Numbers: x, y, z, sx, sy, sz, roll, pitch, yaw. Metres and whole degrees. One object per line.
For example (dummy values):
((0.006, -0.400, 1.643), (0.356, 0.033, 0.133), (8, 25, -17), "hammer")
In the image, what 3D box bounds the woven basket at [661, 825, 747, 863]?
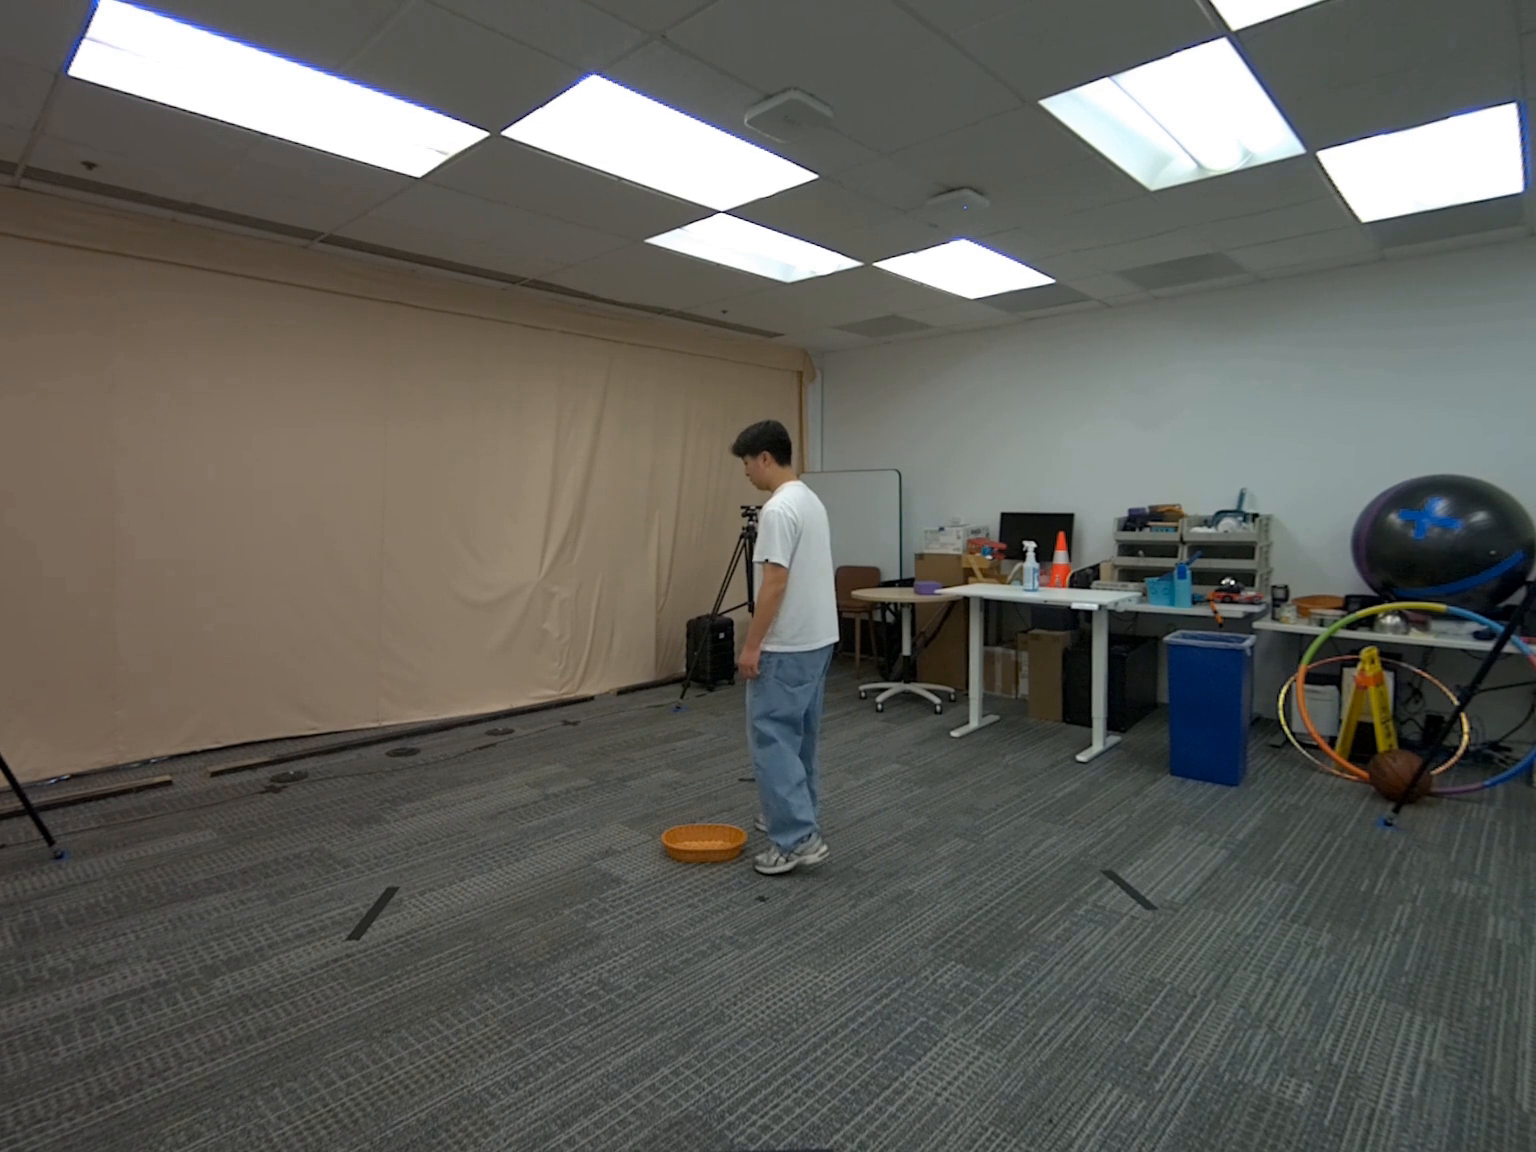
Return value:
((-0.256, 1.075, 3.380), (0.351, 0.073, 0.253), (0, 5, 1), "woven basket")
